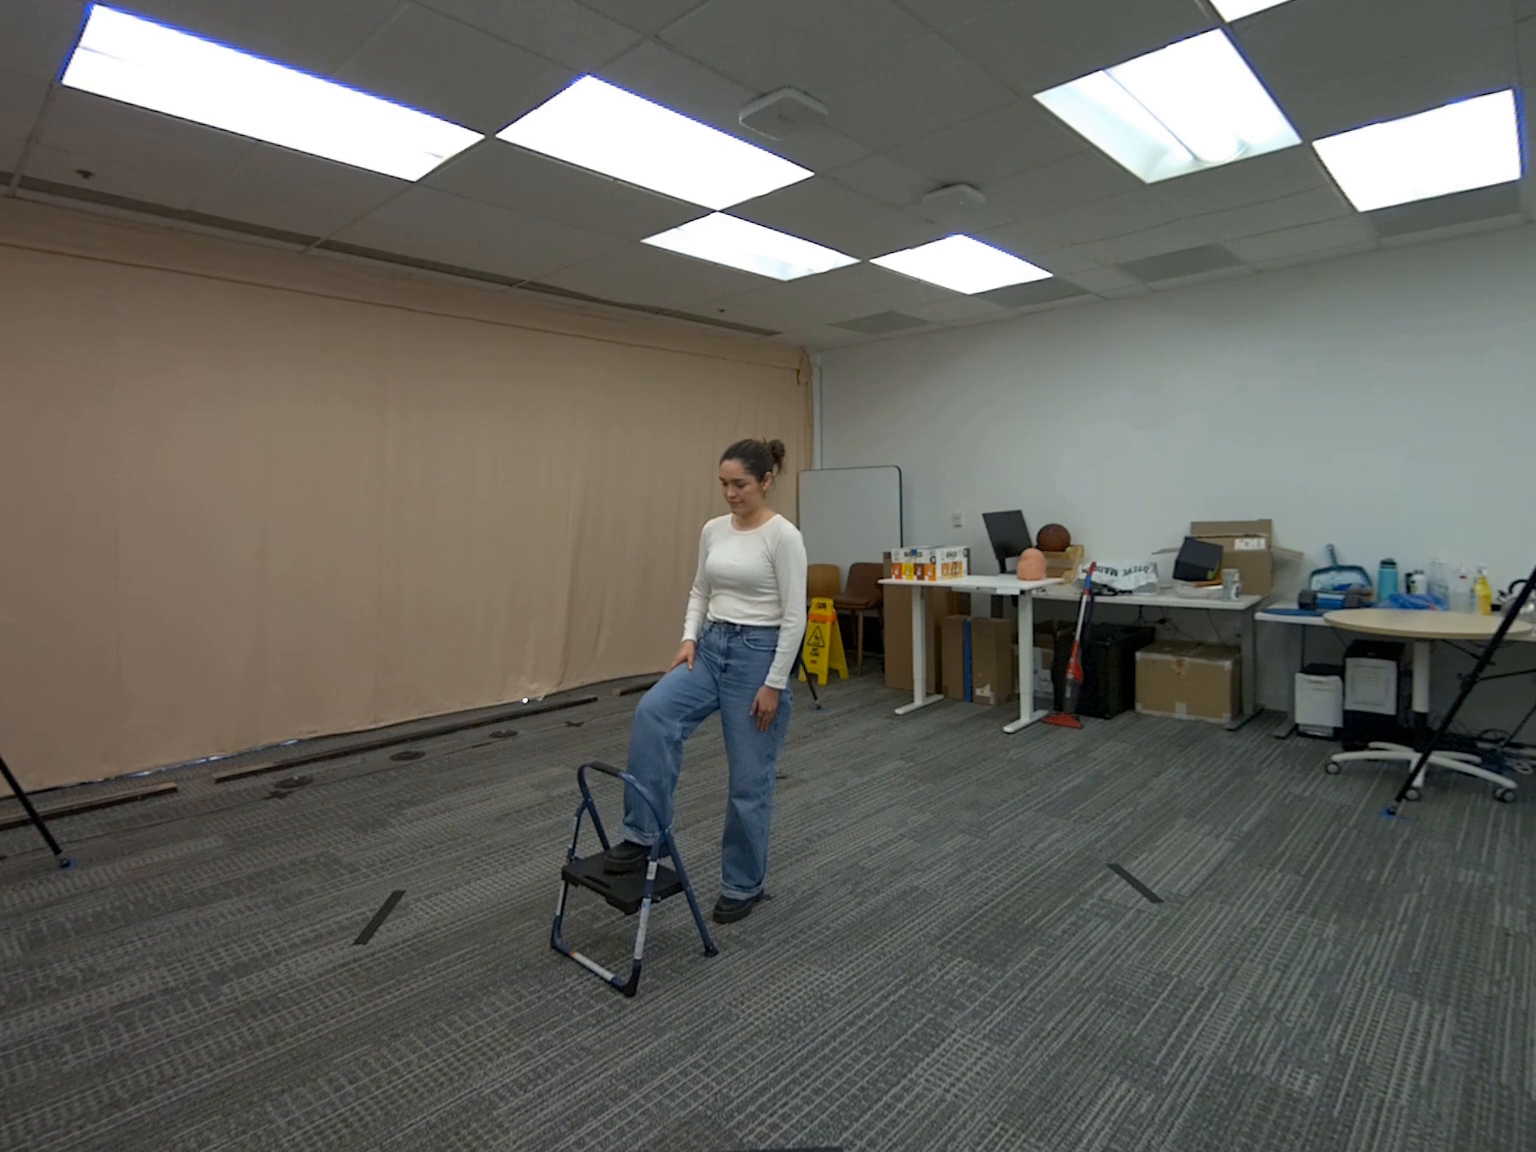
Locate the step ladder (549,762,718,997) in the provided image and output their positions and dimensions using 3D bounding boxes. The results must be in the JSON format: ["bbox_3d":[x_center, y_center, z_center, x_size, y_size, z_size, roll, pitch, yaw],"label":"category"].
[{"bbox_3d":[-0.433,0.876,2.633,0.445,0.605,0.339,2,4,43],"label":"step ladder"}]
